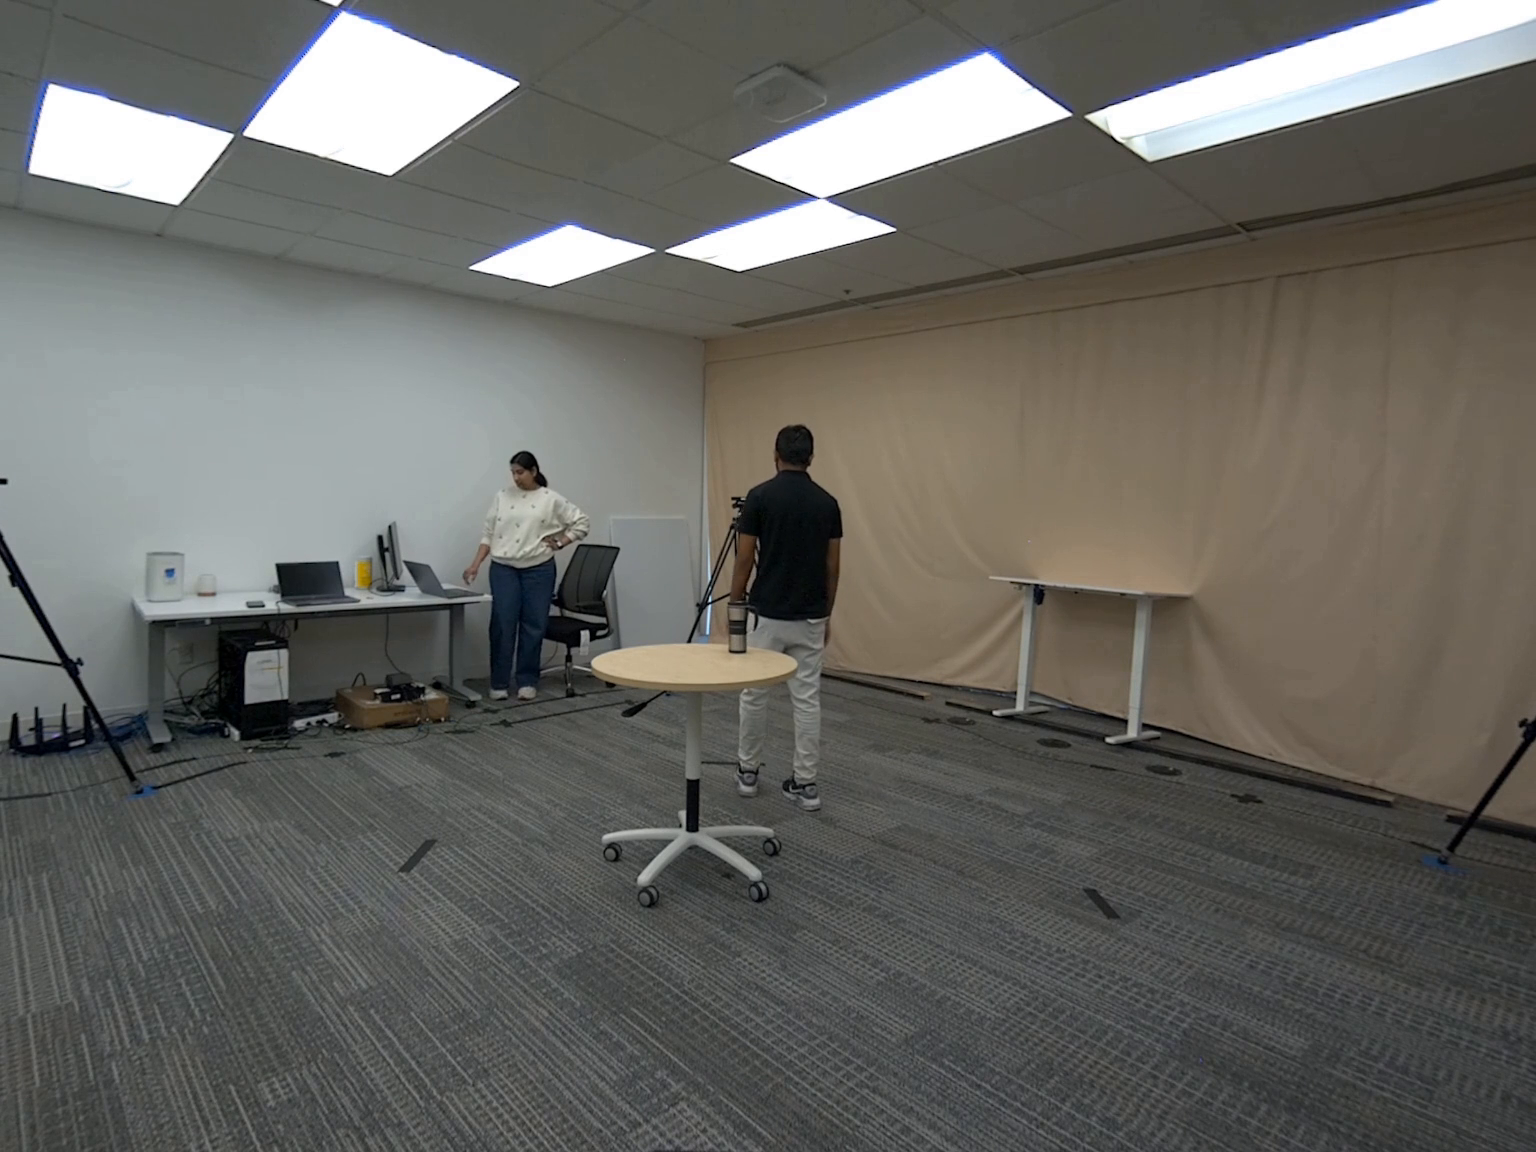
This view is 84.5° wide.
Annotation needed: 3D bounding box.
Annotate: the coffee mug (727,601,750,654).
[{"bbox_3d":[-0.113,0.205,3.320,0.124,0.203,0.086,-3,-3,30],"label":"coffee mug"}]
